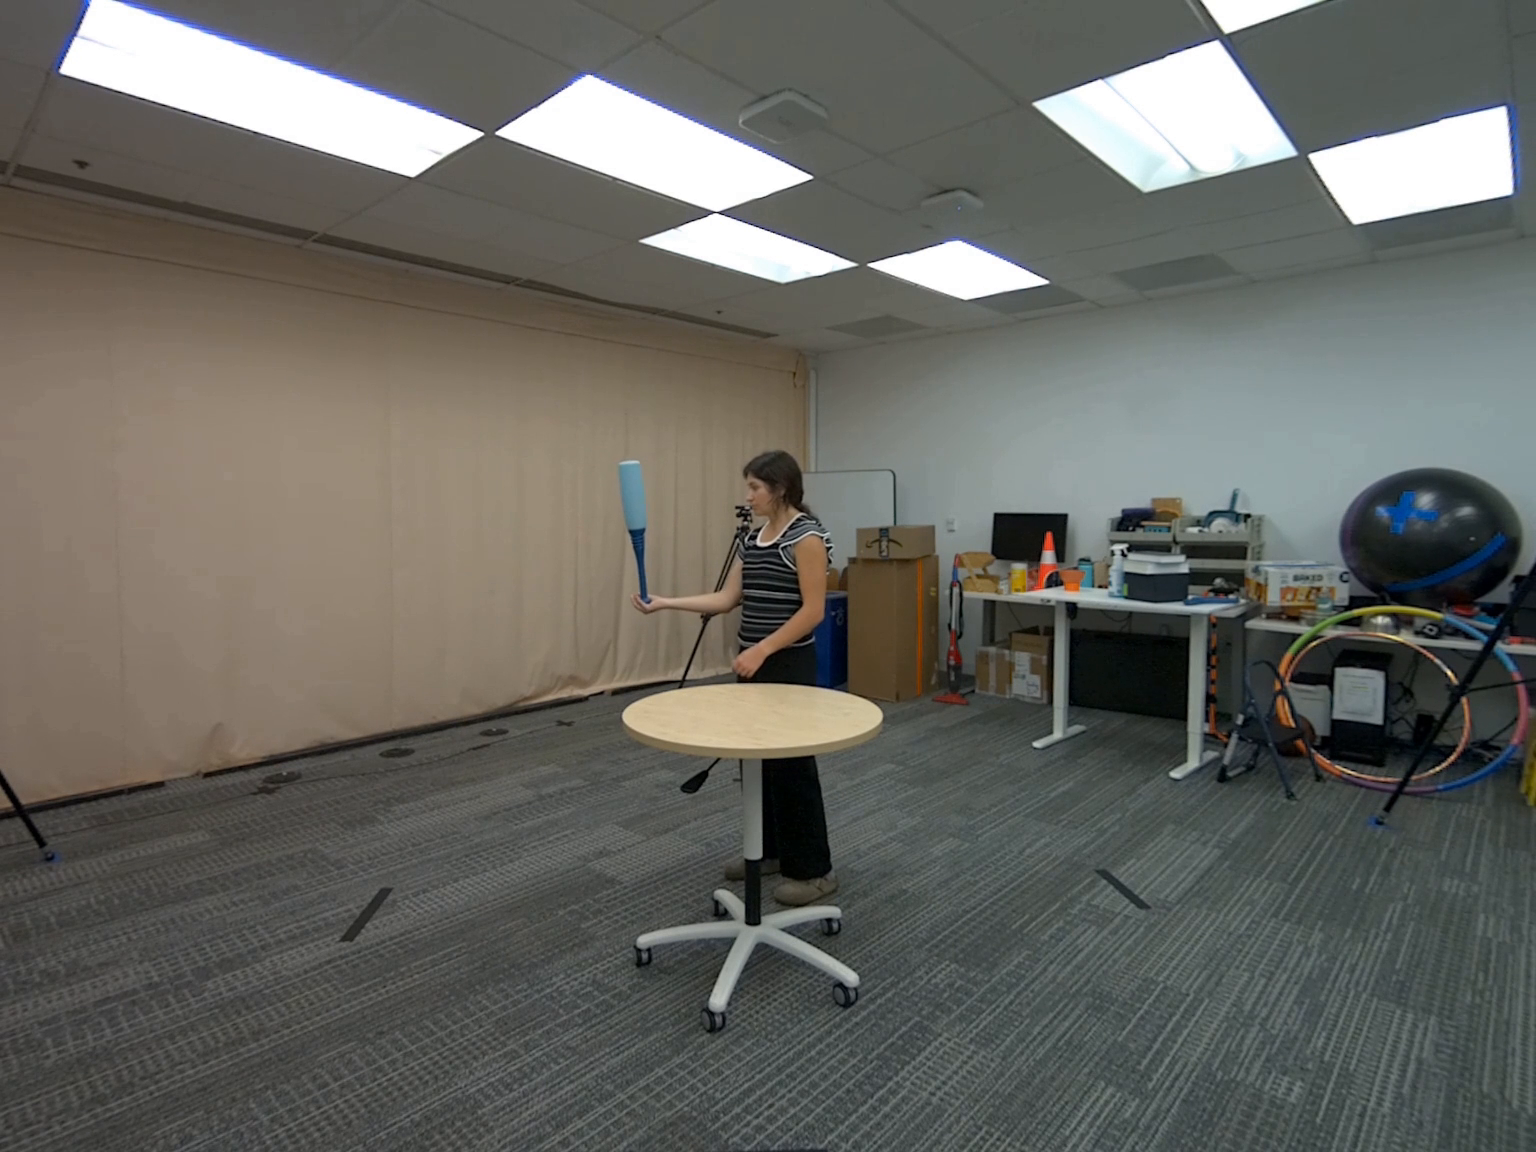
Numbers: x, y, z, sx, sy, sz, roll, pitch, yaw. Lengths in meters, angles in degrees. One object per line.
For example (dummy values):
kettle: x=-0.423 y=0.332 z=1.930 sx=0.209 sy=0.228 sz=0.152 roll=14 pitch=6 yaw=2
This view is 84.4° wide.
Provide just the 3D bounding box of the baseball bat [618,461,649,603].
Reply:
baseball bat: x=-0.488 y=-0.160 z=3.134 sx=0.089 sy=0.540 sz=0.089 roll=-5 pitch=7 yaw=-1
